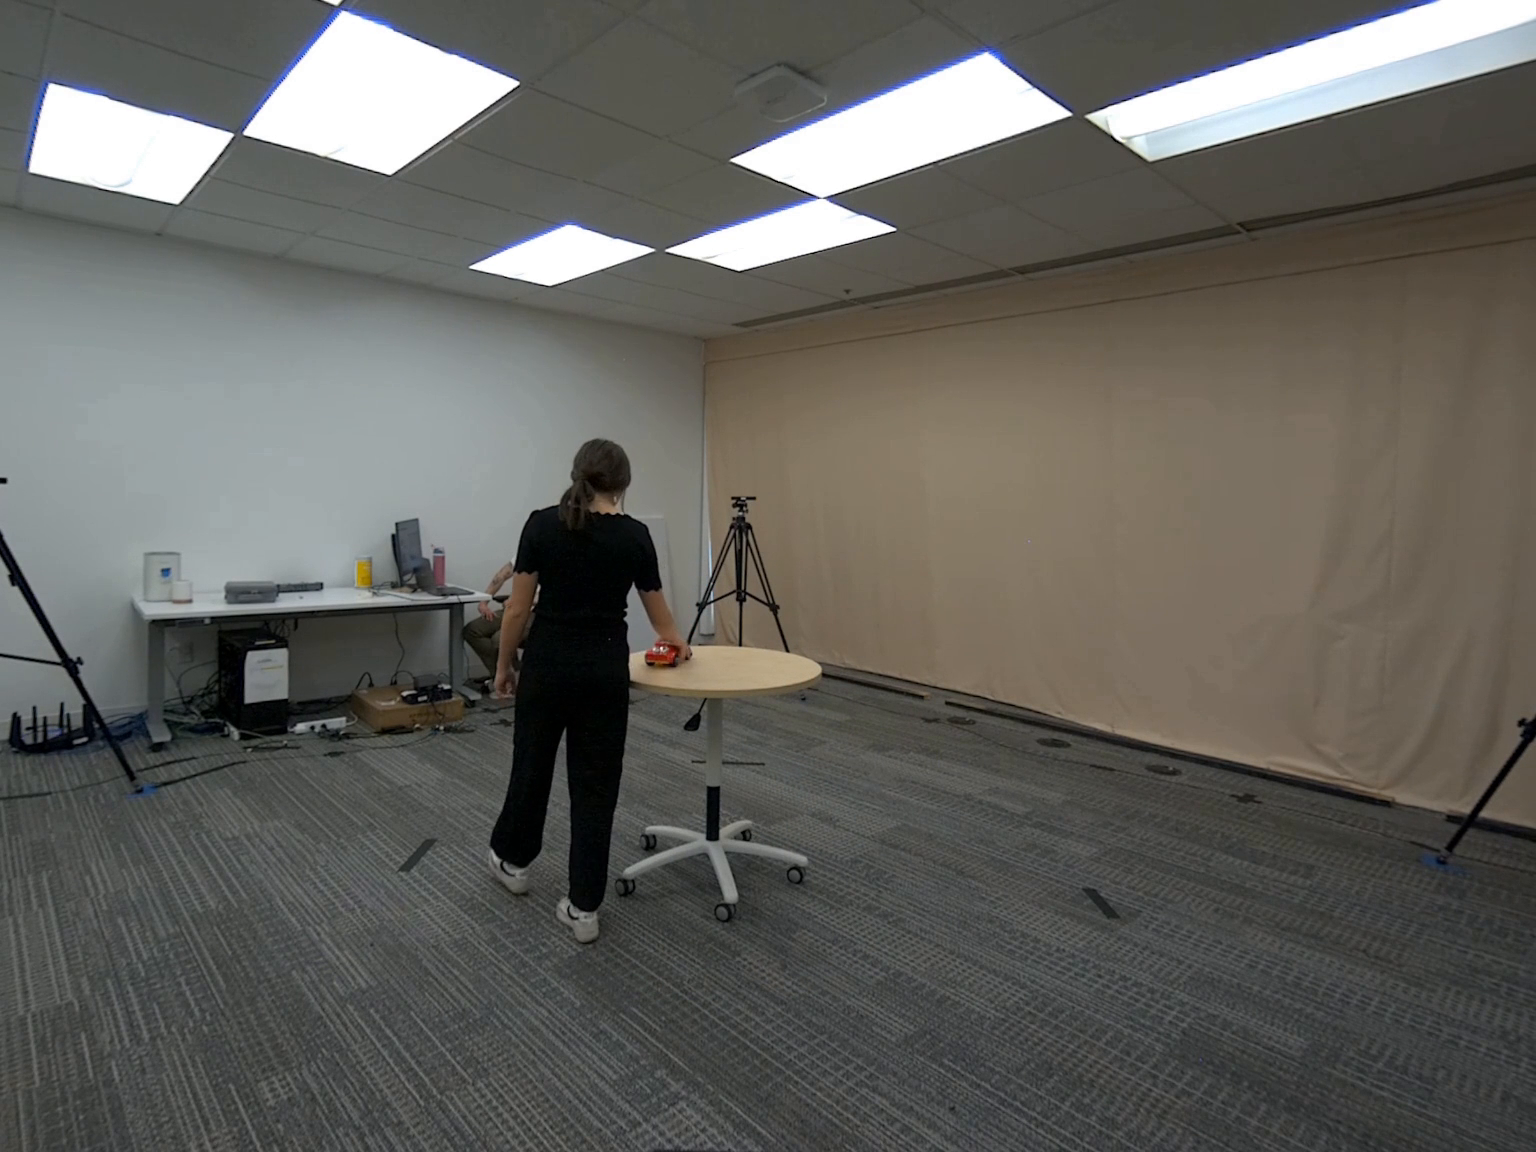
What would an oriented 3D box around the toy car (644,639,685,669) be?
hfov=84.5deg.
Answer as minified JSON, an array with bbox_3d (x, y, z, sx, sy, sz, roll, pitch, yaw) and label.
[{"bbox_3d":[-0.381,0.290,3.071,0.132,0.083,0.250,2,-6,14],"label":"toy car"}]
